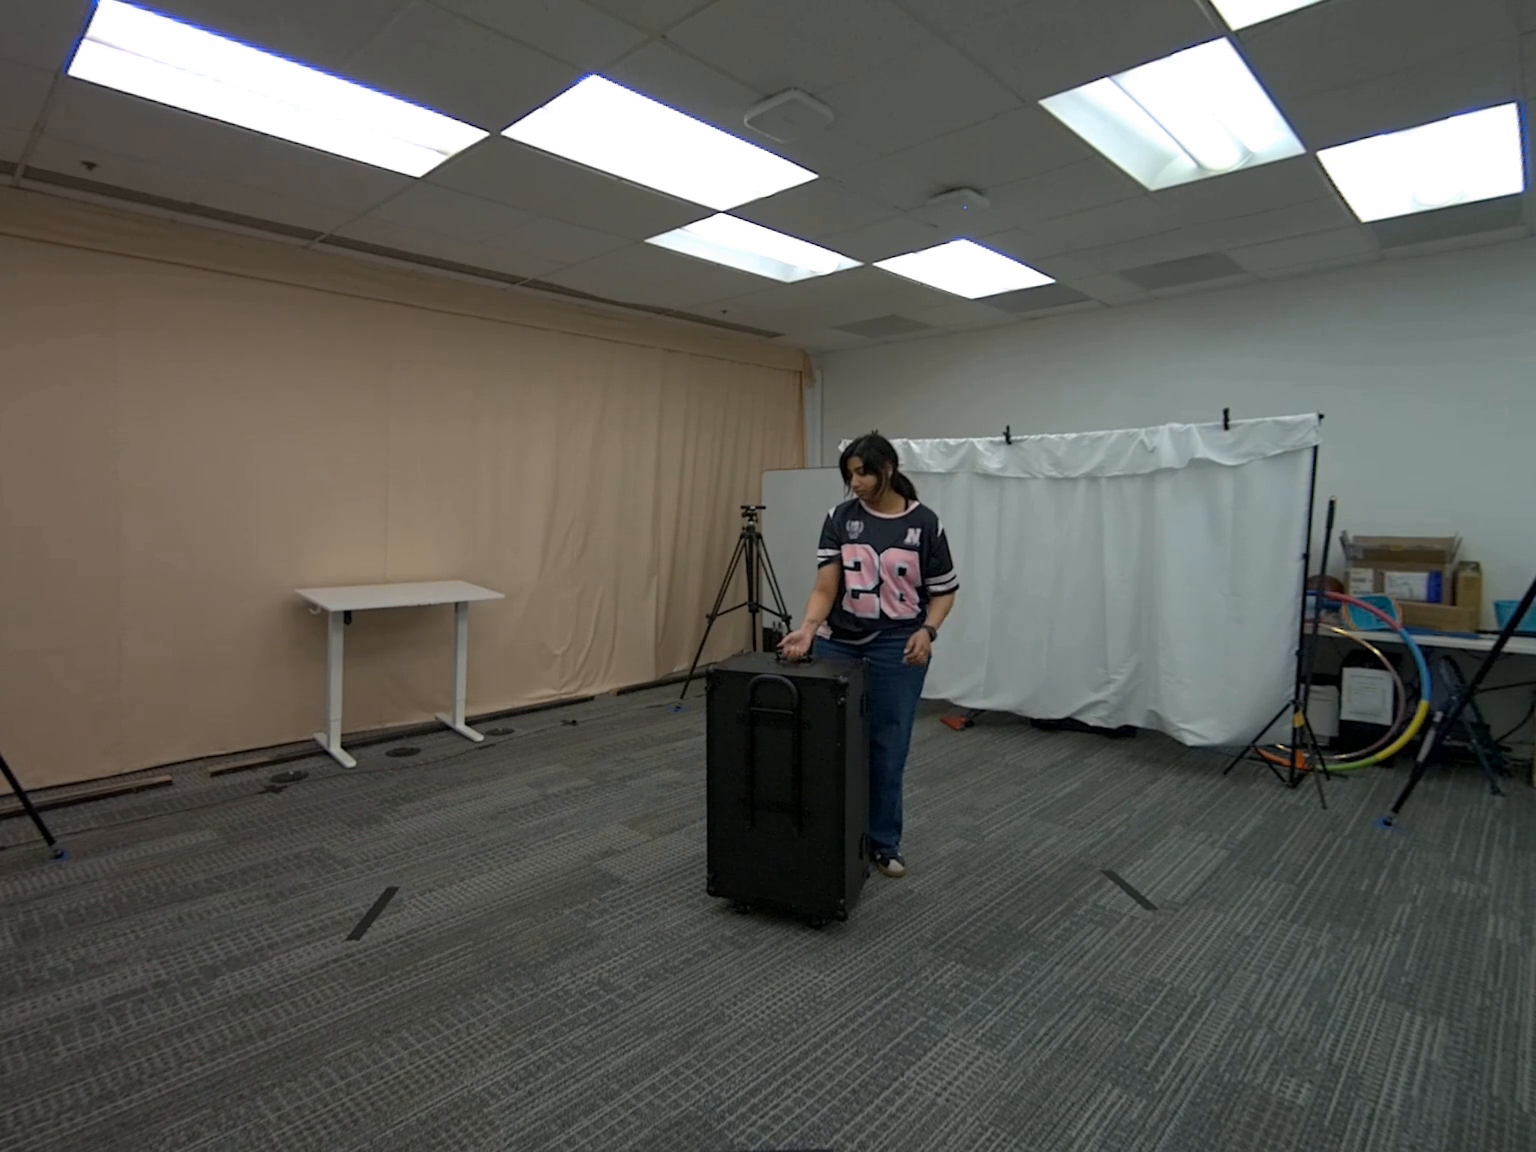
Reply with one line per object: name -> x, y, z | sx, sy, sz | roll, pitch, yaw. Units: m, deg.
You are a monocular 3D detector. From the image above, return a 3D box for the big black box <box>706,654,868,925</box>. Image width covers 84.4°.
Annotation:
big black box -> 0.074, 0.730, 2.896 | 0.533, 0.859, 0.388 | 2, 4, 21
